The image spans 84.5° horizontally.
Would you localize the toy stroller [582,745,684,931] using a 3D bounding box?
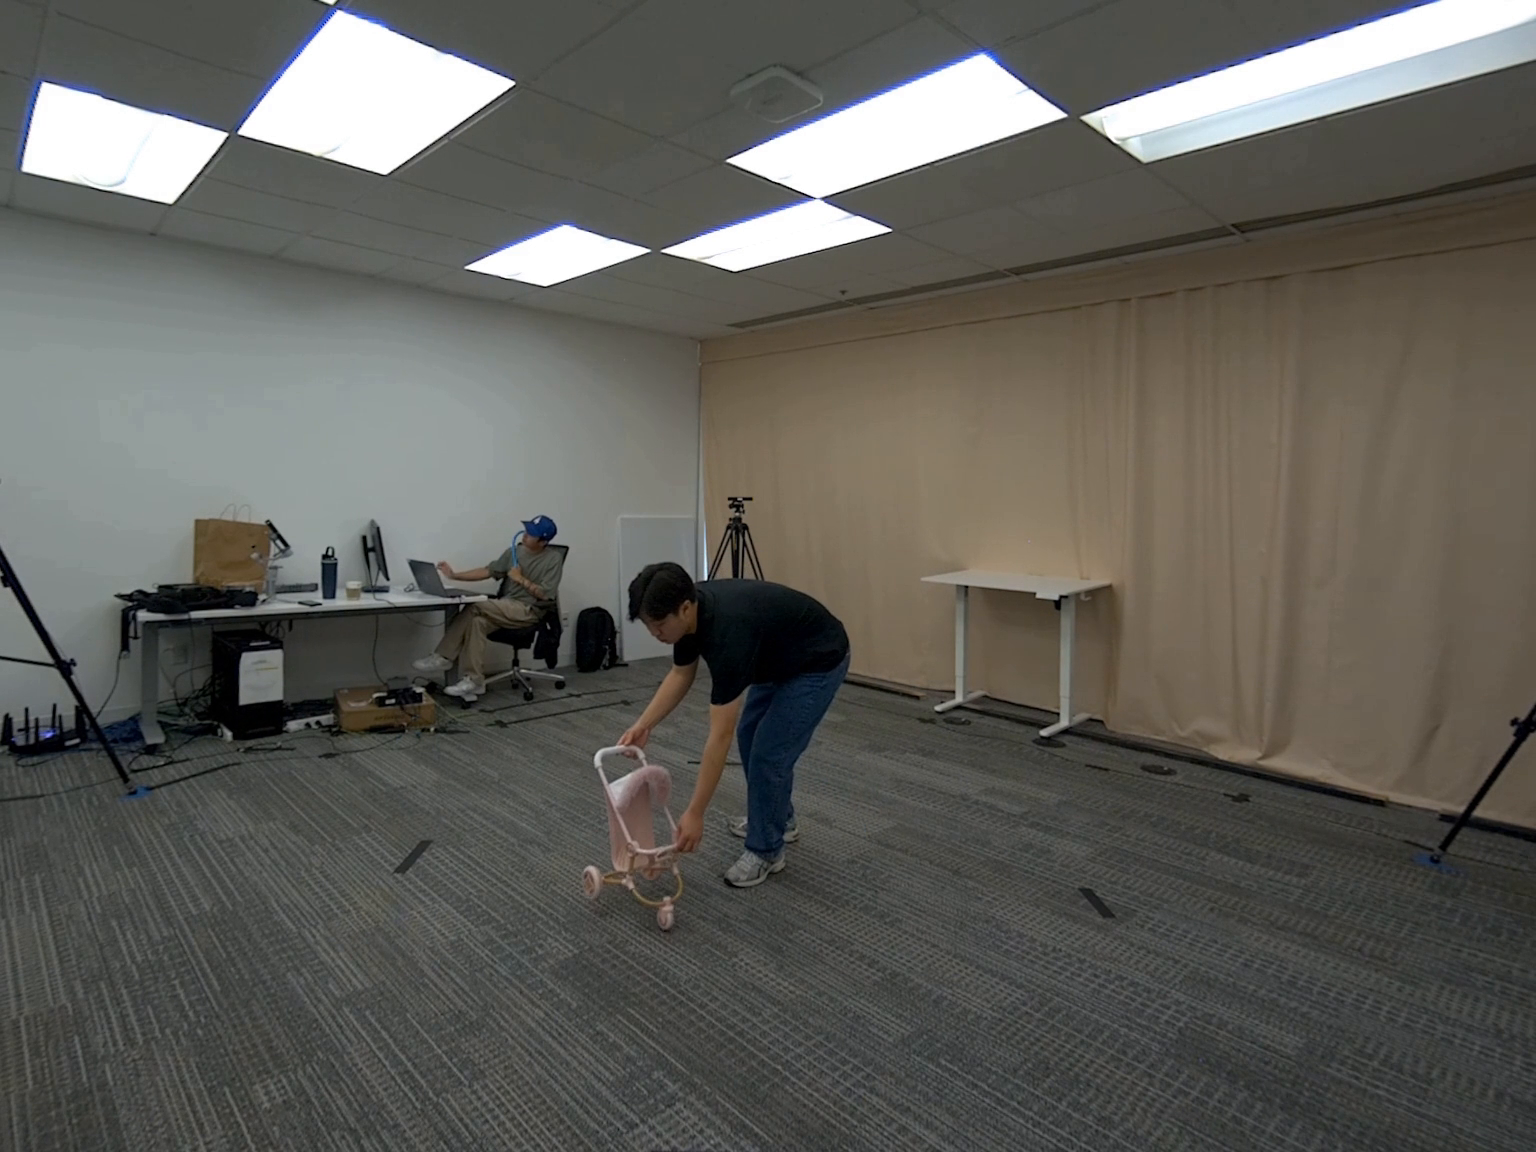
[{"bbox_3d":[-0.430,0.866,2.804,0.274,0.536,0.349,3,-3,-40],"label":"toy stroller"}]
